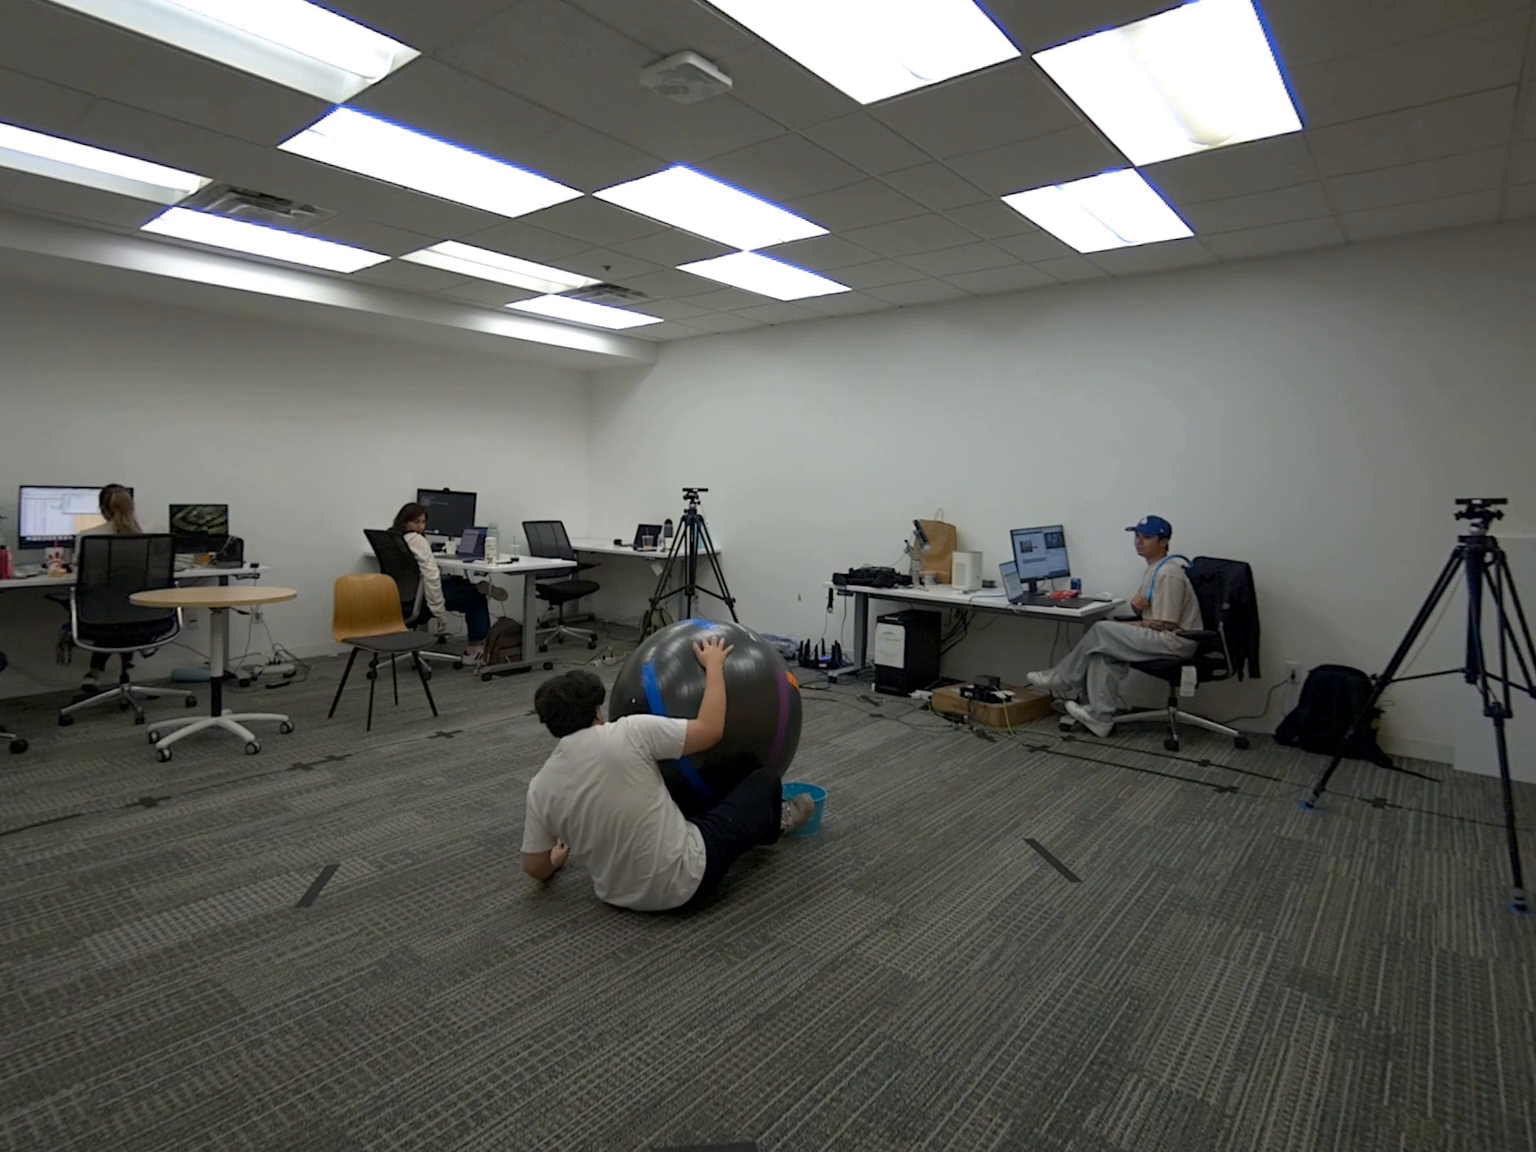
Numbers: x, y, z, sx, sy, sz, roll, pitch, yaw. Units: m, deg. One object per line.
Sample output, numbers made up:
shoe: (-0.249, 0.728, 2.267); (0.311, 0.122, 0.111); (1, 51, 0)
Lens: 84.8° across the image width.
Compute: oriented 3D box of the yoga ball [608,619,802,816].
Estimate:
yoga ball: (-0.256, 0.542, 3.336); (0.757, 0.755, 0.762); (1, 4, -2)
